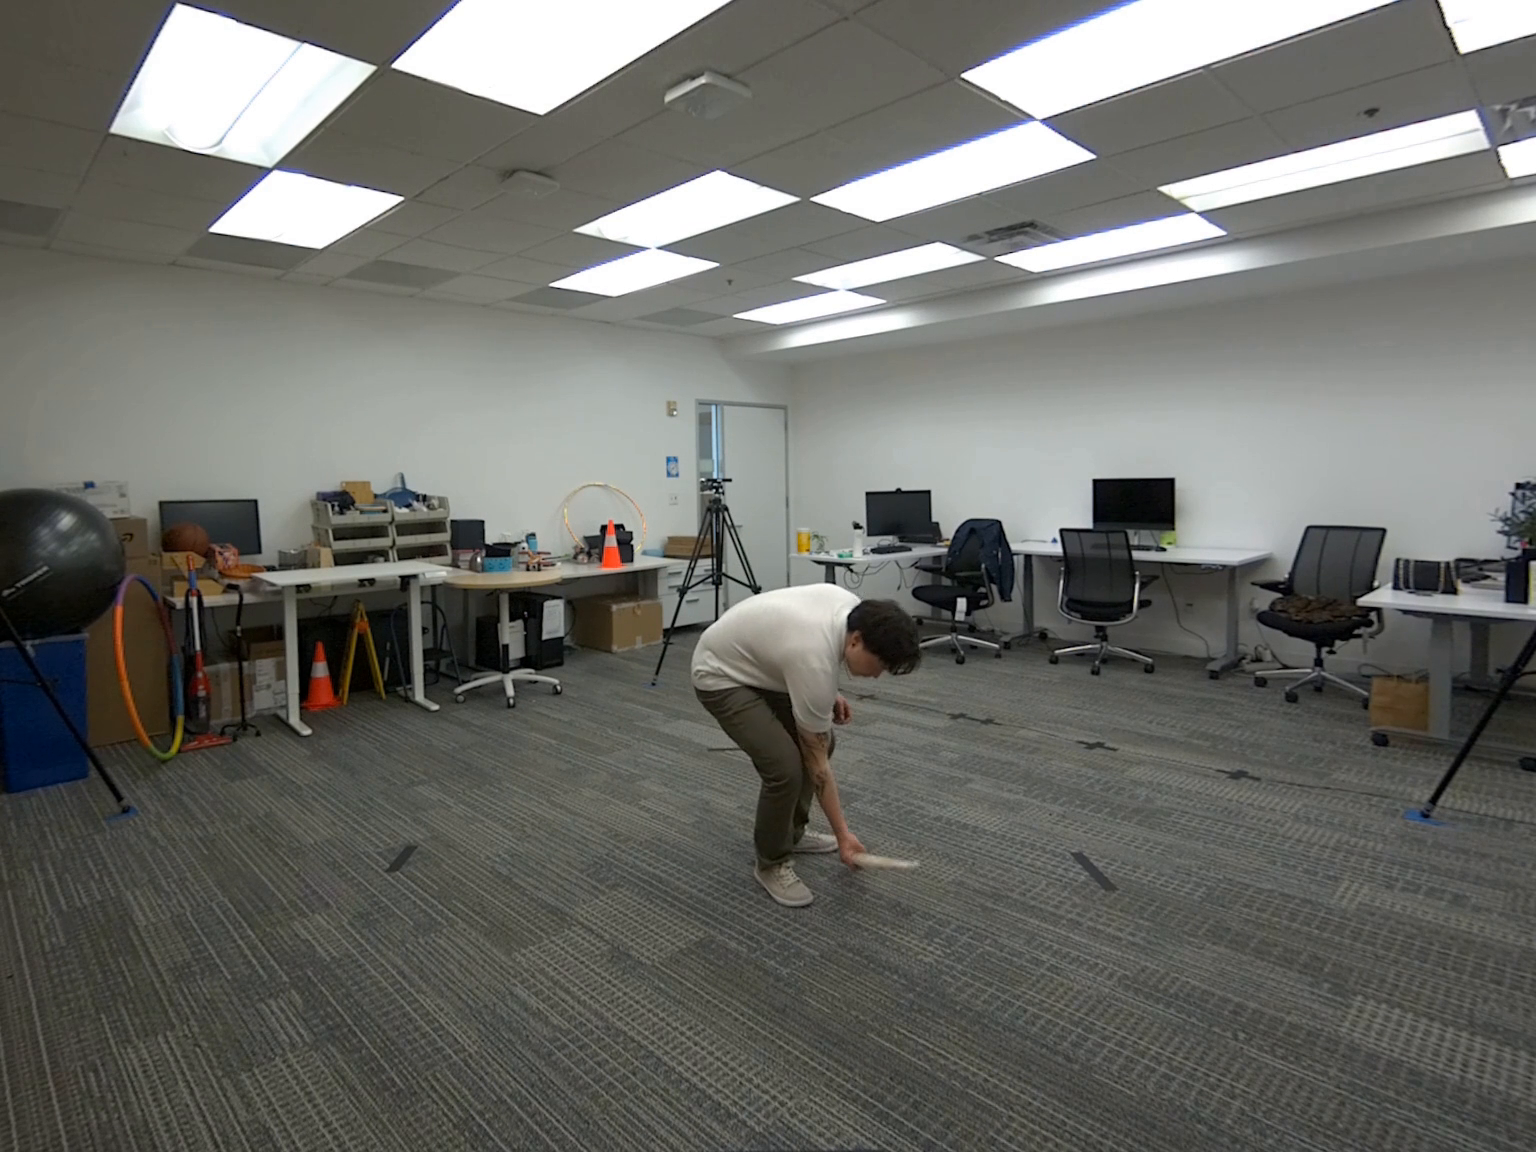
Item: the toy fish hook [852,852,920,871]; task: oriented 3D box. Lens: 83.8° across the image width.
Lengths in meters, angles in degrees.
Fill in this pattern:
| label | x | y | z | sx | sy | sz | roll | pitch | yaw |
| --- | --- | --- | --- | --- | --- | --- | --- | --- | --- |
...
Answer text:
| label | x | y | z | sx | sy | sz | roll | pitch | yaw |
| --- | --- | --- | --- | --- | --- | --- | --- | --- | --- |
| toy fish hook | 0.379 | 0.931 | 2.864 | 0.225 | 0.049 | 0.500 | 12 | -12 | 2 |
